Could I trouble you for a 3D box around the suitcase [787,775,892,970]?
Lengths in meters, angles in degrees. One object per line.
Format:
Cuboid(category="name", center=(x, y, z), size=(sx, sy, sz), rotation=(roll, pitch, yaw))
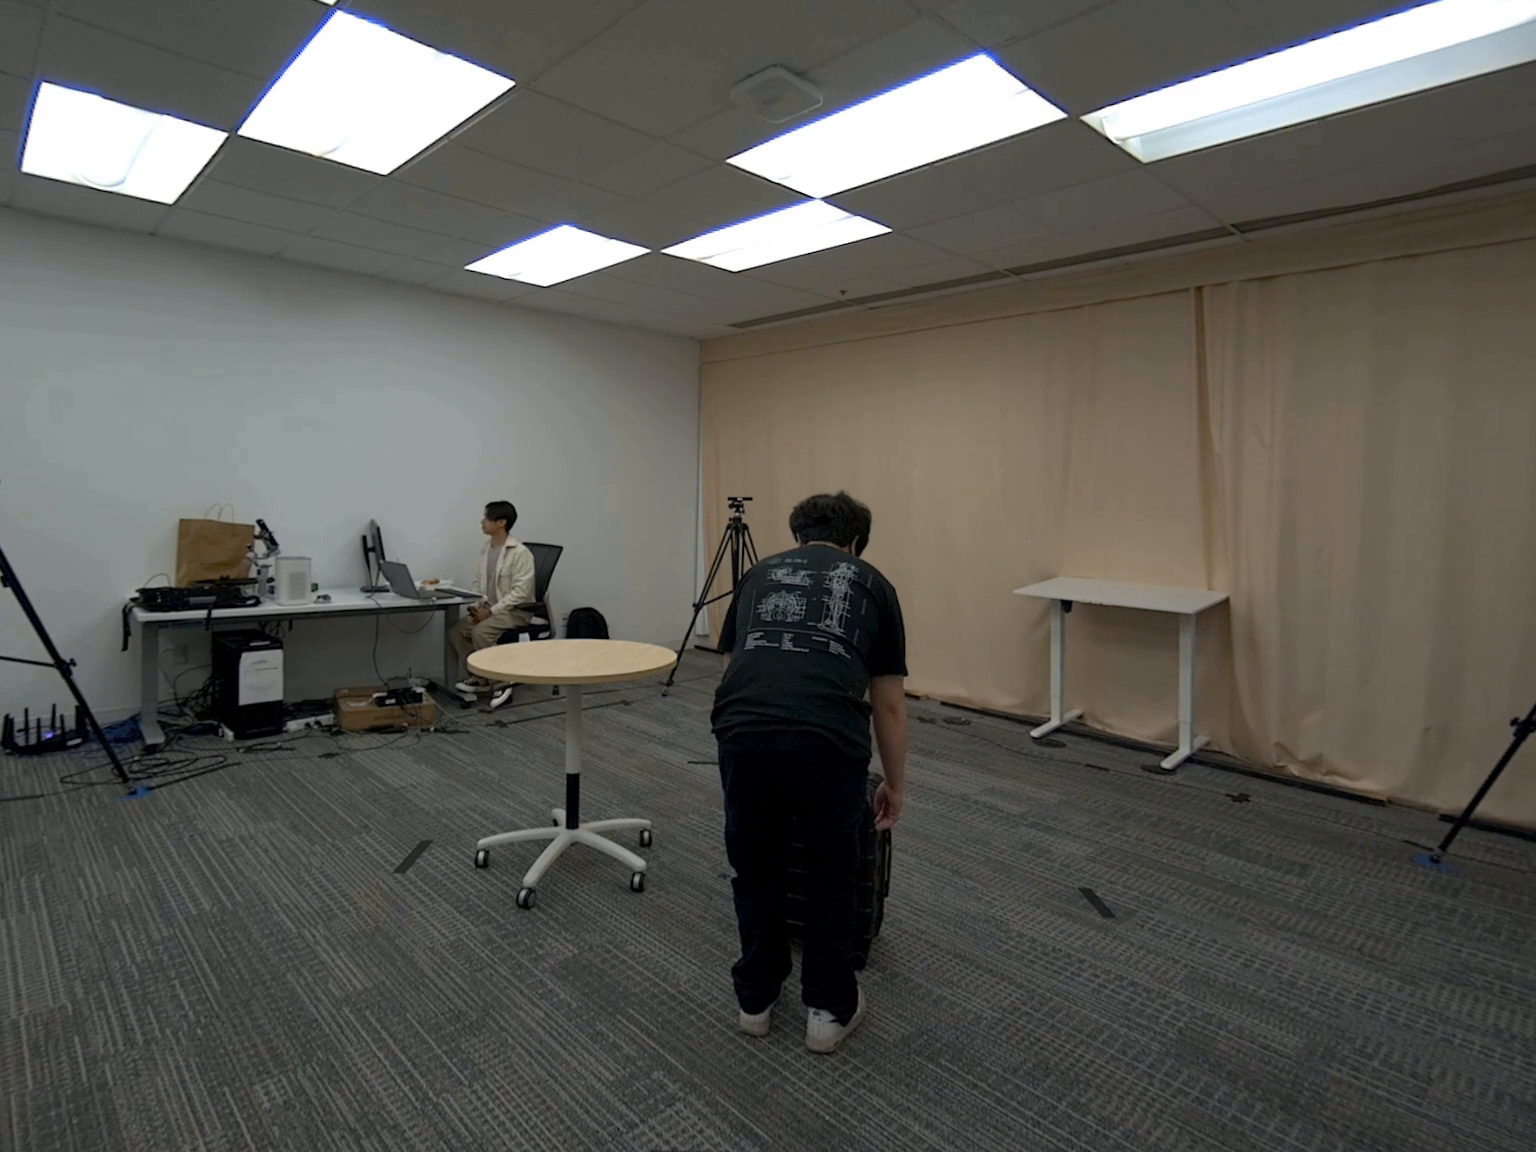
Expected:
Cuboid(category="suitcase", center=(0.191, 0.889, 2.641), size=(0.381, 0.548, 0.245), rotation=(4, 4, 19))
